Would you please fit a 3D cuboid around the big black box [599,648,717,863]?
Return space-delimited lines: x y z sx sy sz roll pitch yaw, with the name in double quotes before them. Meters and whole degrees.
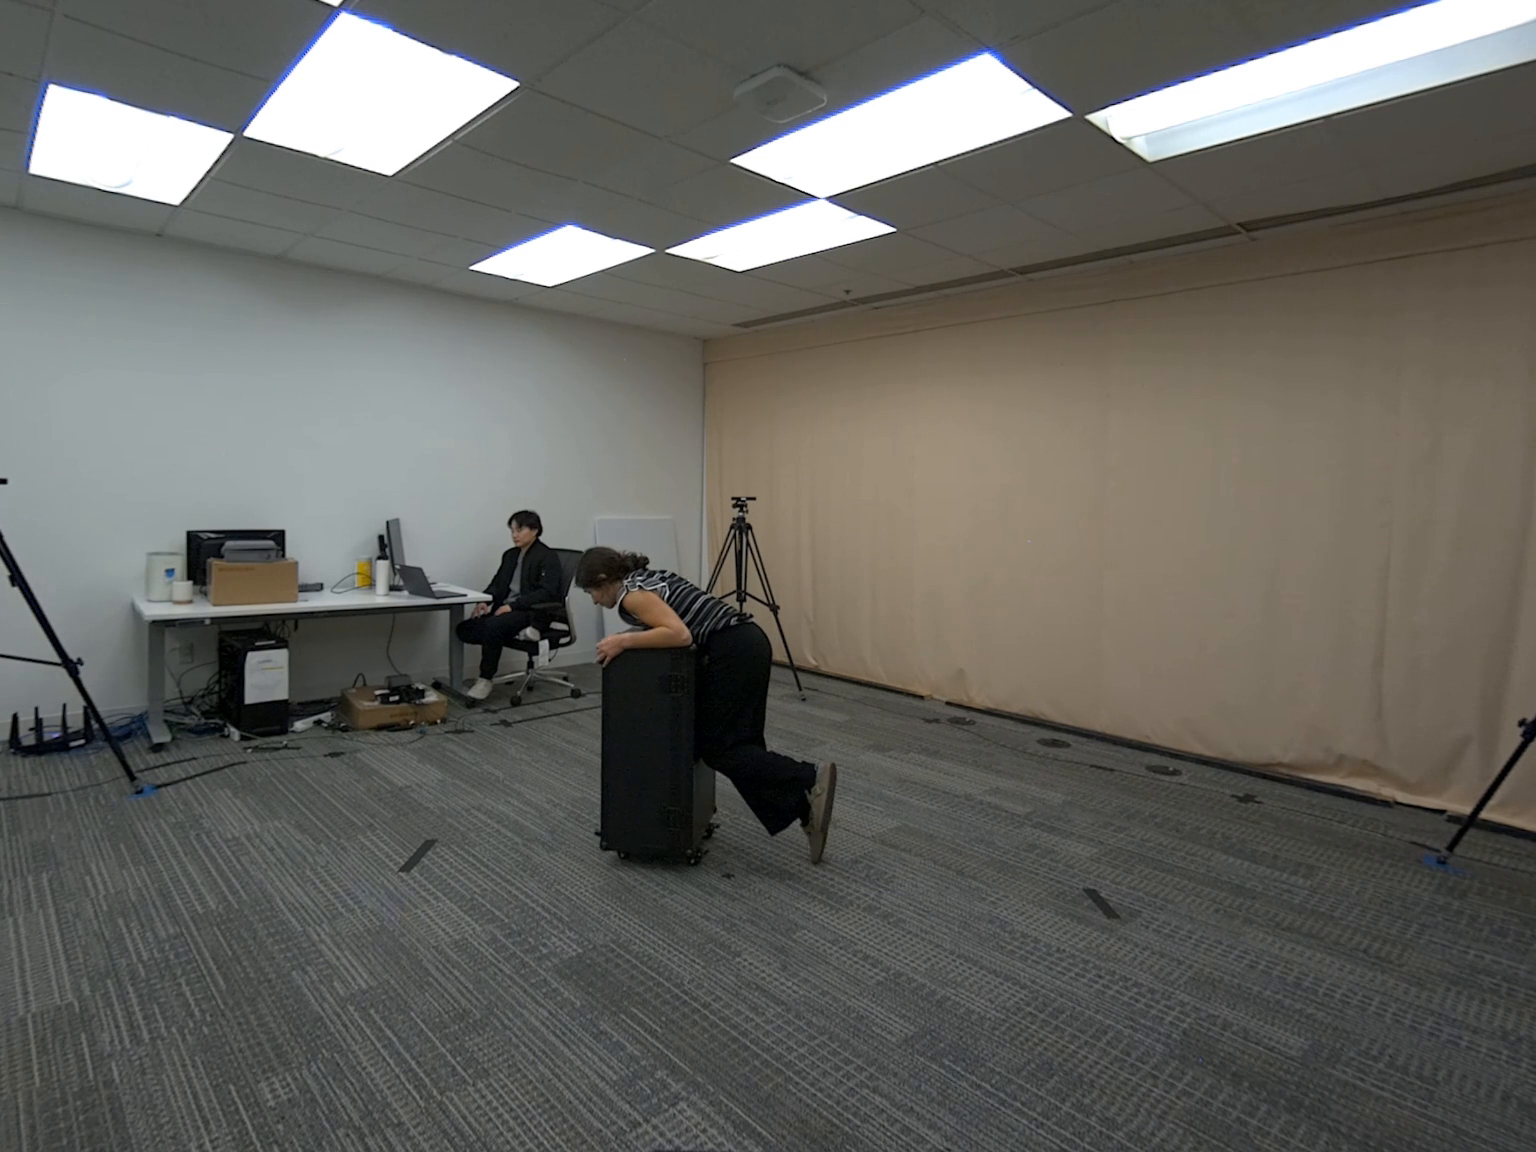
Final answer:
"big black box" -0.446 0.676 3.322 0.398 0.860 0.519 -1 3 7
